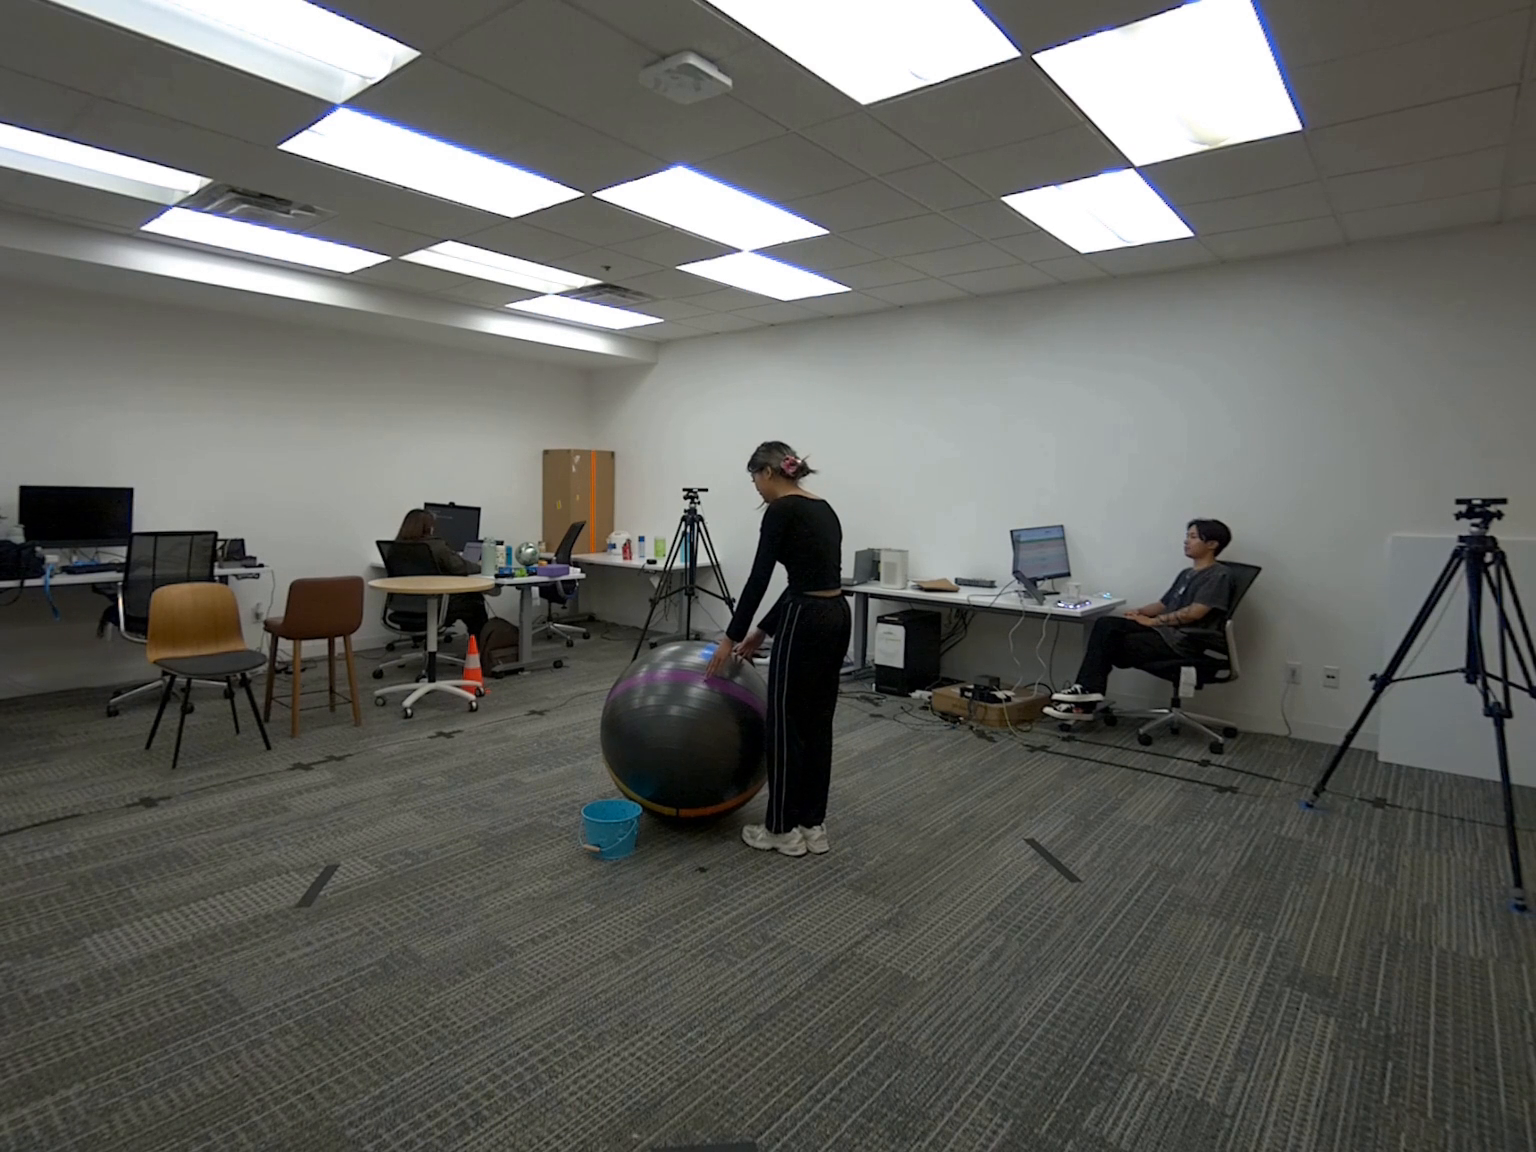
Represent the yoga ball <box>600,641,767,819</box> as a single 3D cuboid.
[{"bbox_3d":[-0.348,0.665,3.613,0.757,0.755,0.762,1,4,-2],"label":"yoga ball"}]
